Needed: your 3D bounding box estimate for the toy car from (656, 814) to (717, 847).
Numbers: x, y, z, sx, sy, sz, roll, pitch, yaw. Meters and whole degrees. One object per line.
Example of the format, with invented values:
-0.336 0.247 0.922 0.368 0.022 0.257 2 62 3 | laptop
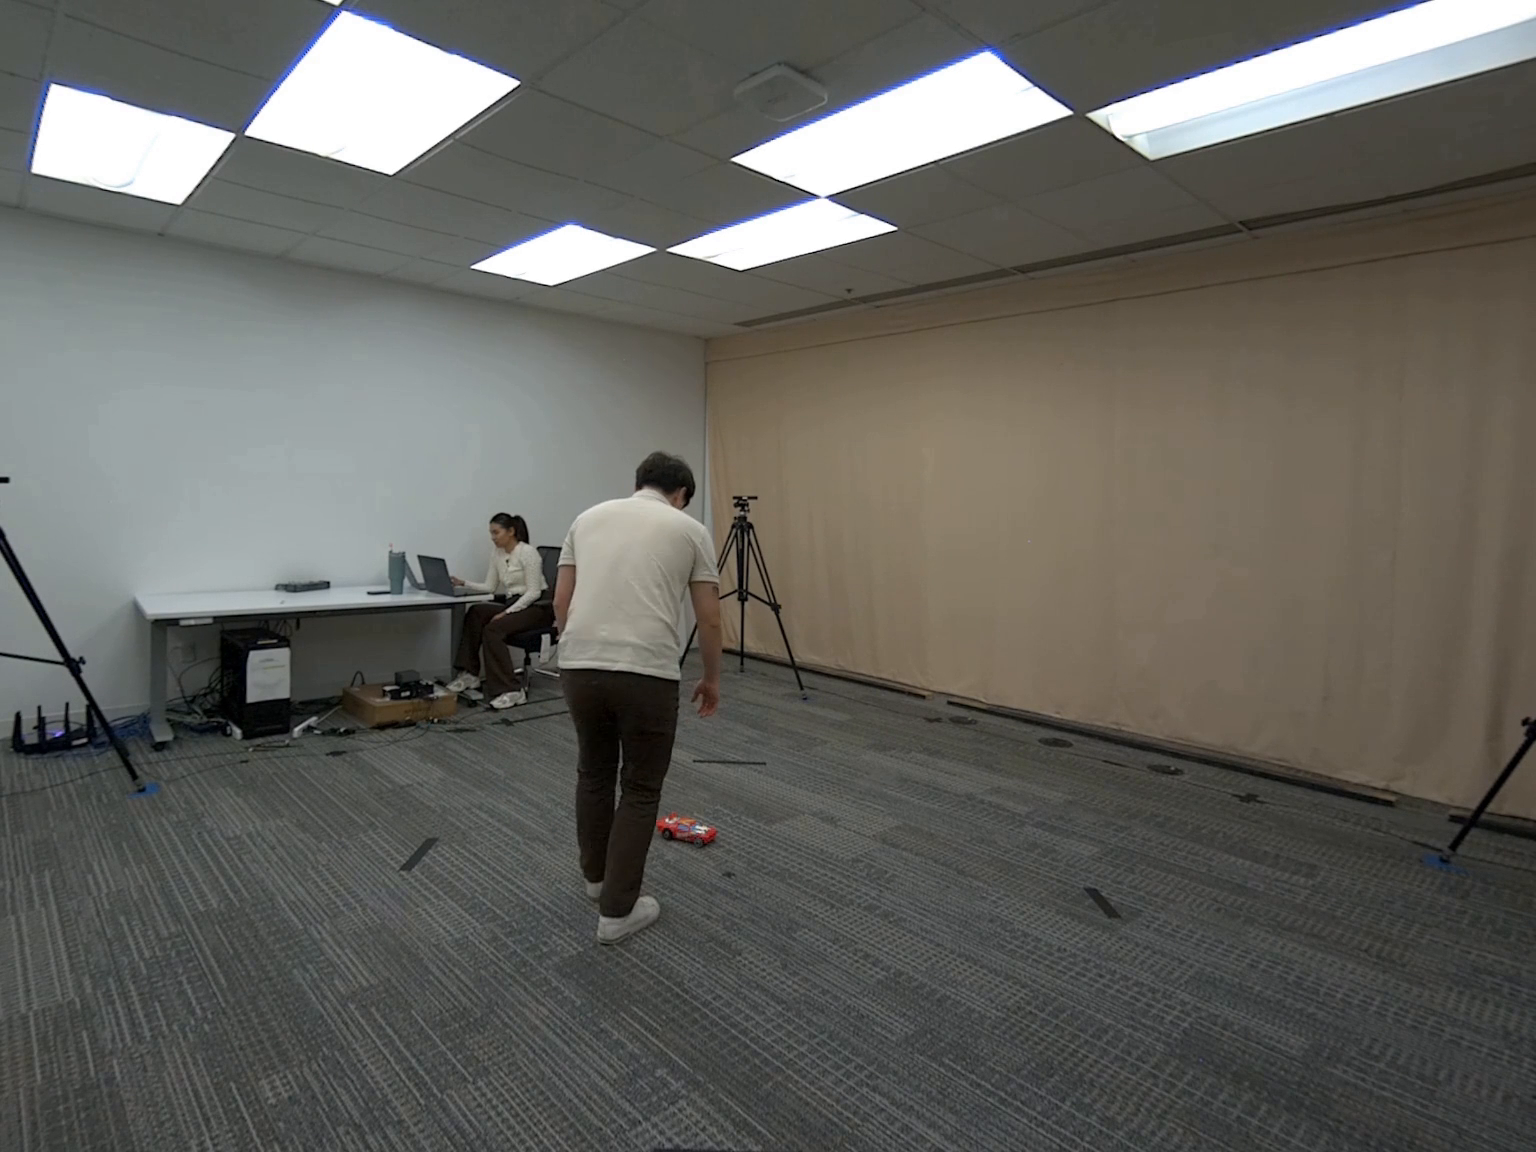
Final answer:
-0.346 1.036 3.428 0.260 0.083 0.128 15 10 26 | toy car
